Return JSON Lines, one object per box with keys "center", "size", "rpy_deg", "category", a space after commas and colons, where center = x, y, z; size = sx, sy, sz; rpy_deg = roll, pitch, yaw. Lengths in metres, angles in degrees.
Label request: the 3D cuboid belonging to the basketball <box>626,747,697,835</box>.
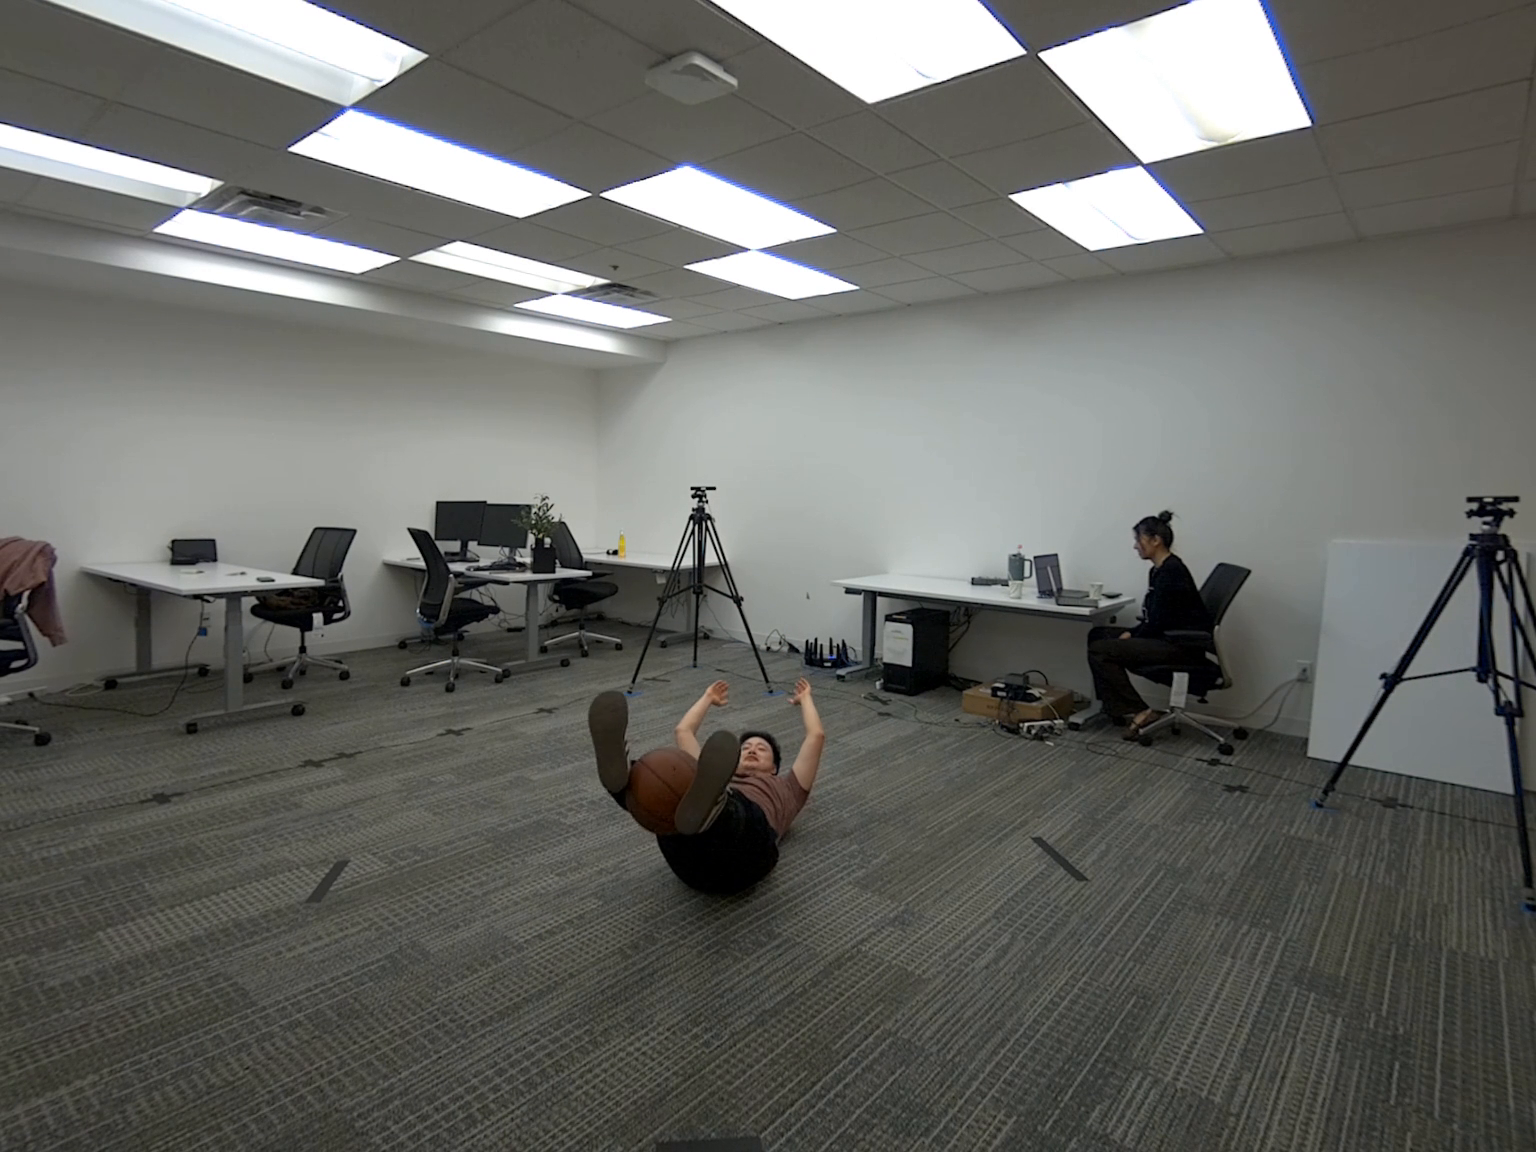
{"center": [-0.292, 0.606, 2.380], "size": [0.236, 0.235, 0.237], "rpy_deg": [-3, 3, -2], "category": "basketball"}
